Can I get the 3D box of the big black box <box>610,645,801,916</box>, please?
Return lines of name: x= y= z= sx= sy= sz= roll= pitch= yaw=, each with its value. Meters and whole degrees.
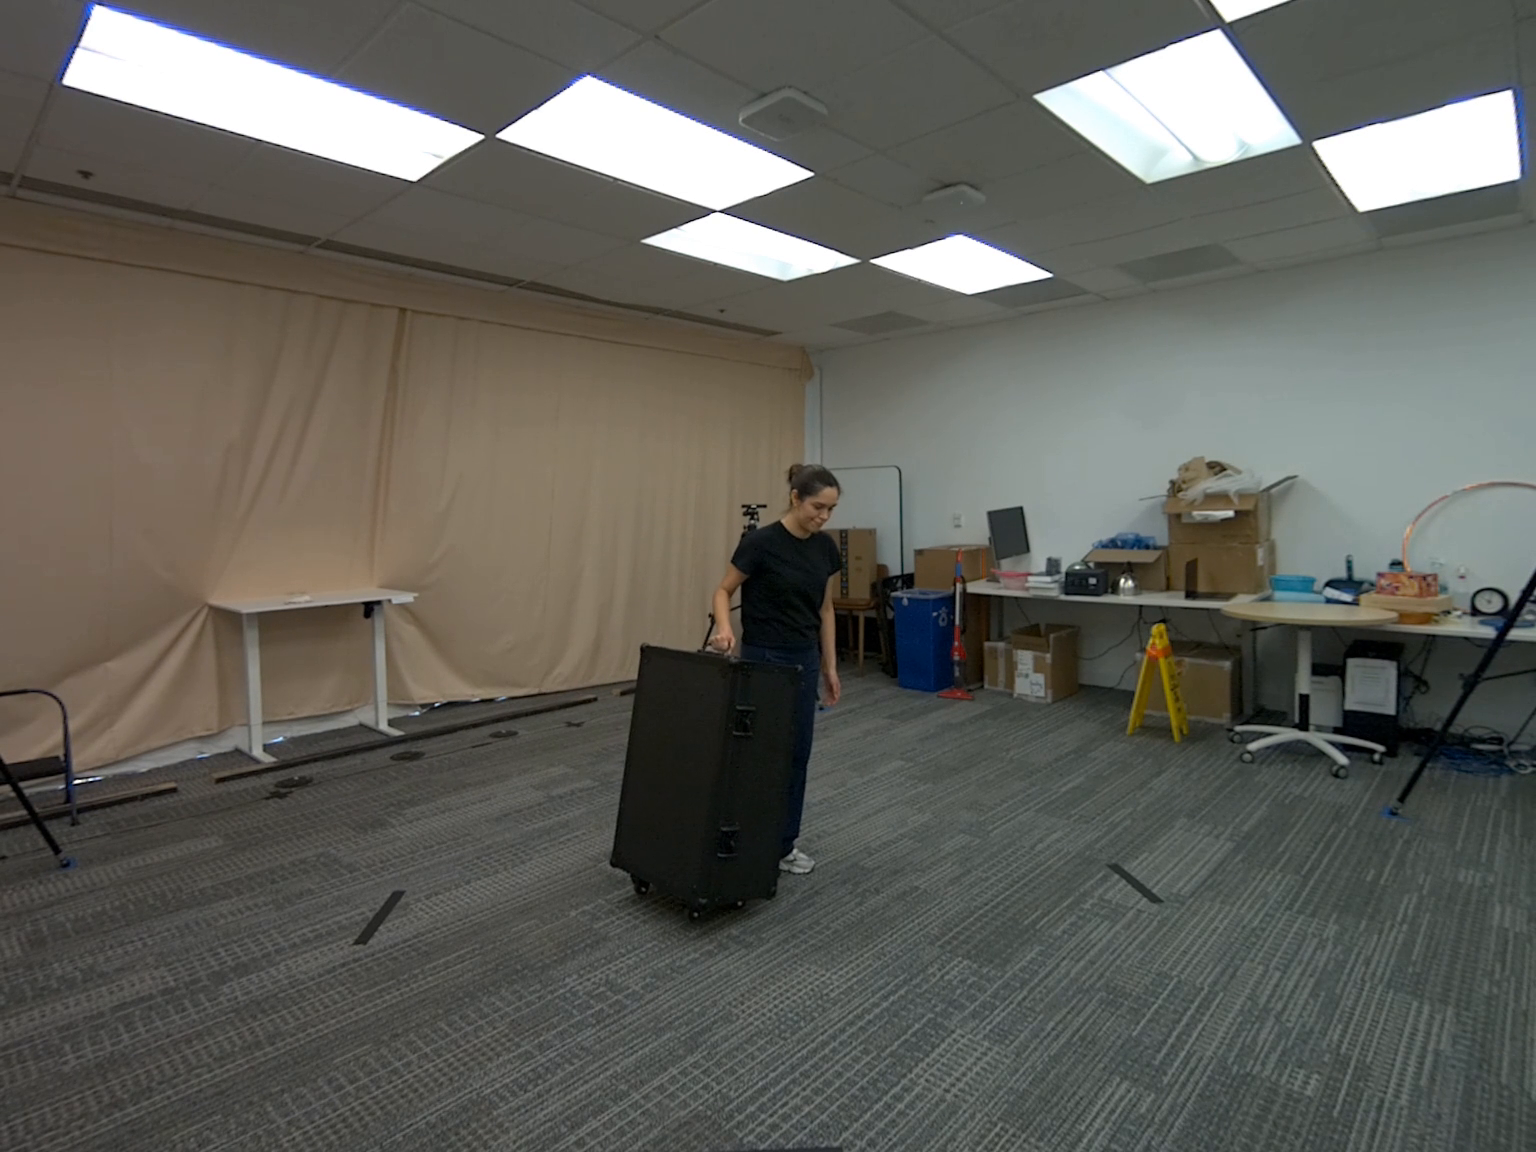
big black box: x=-0.207 y=0.705 z=2.973 sx=0.538 sy=0.864 sz=0.382 roll=1 pitch=-9 yaw=44
